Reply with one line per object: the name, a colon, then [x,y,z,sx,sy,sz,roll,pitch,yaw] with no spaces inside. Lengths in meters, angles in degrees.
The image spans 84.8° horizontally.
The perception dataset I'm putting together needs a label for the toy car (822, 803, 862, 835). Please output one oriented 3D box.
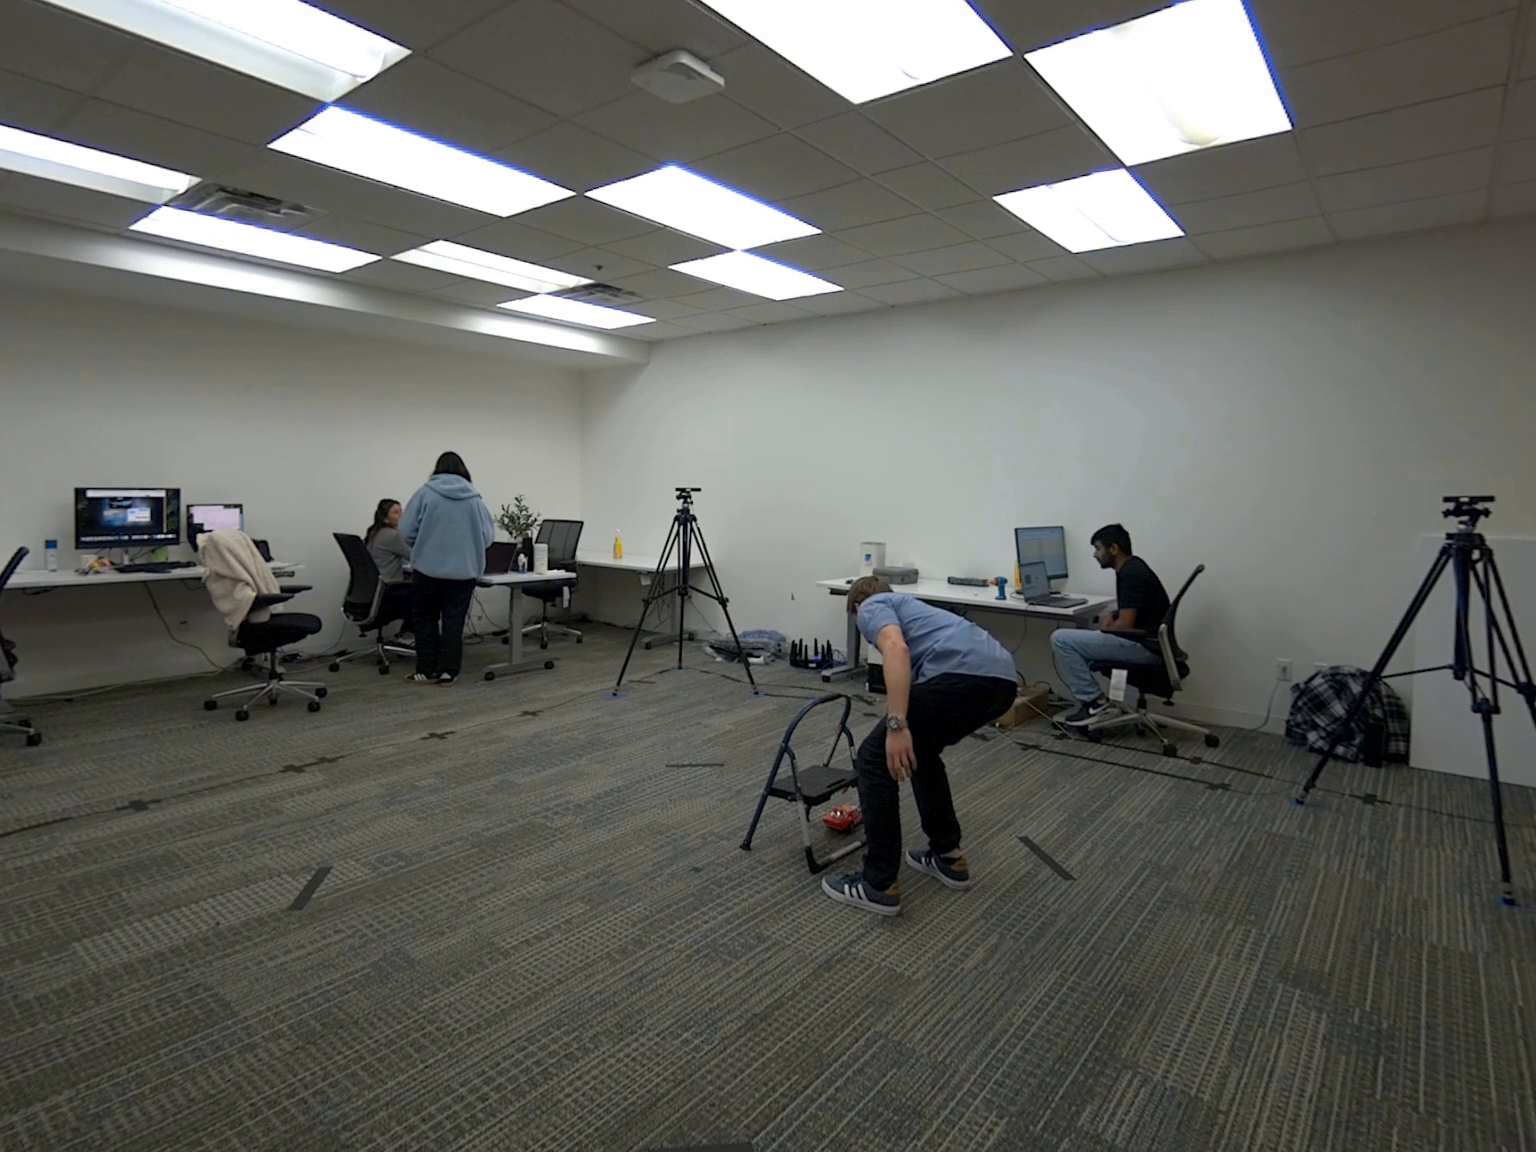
toy car: [0.323,1.005,3.549,0.135,0.083,0.245,6,-3,39]
